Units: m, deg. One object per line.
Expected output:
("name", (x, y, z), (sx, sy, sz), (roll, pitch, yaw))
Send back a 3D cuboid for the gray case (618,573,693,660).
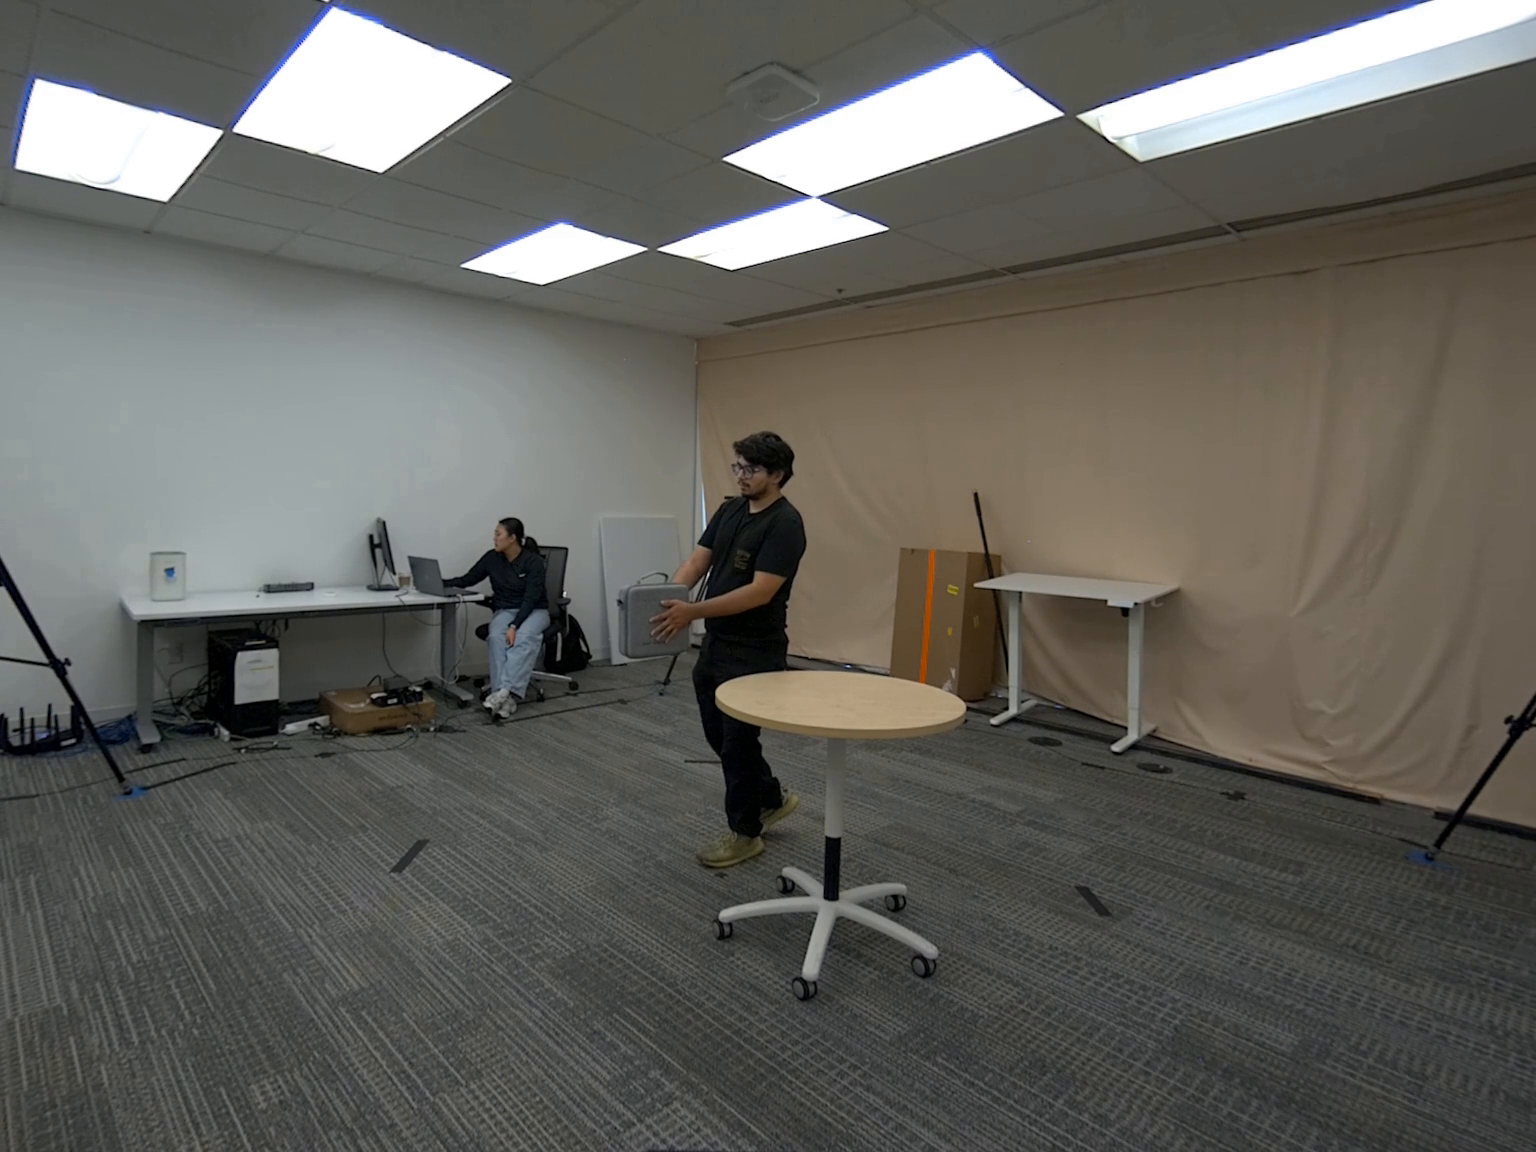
("gray case", (-0.416, 0.155, 2.967), (0.251, 0.260, 0.107), (-1, 2, -38))
